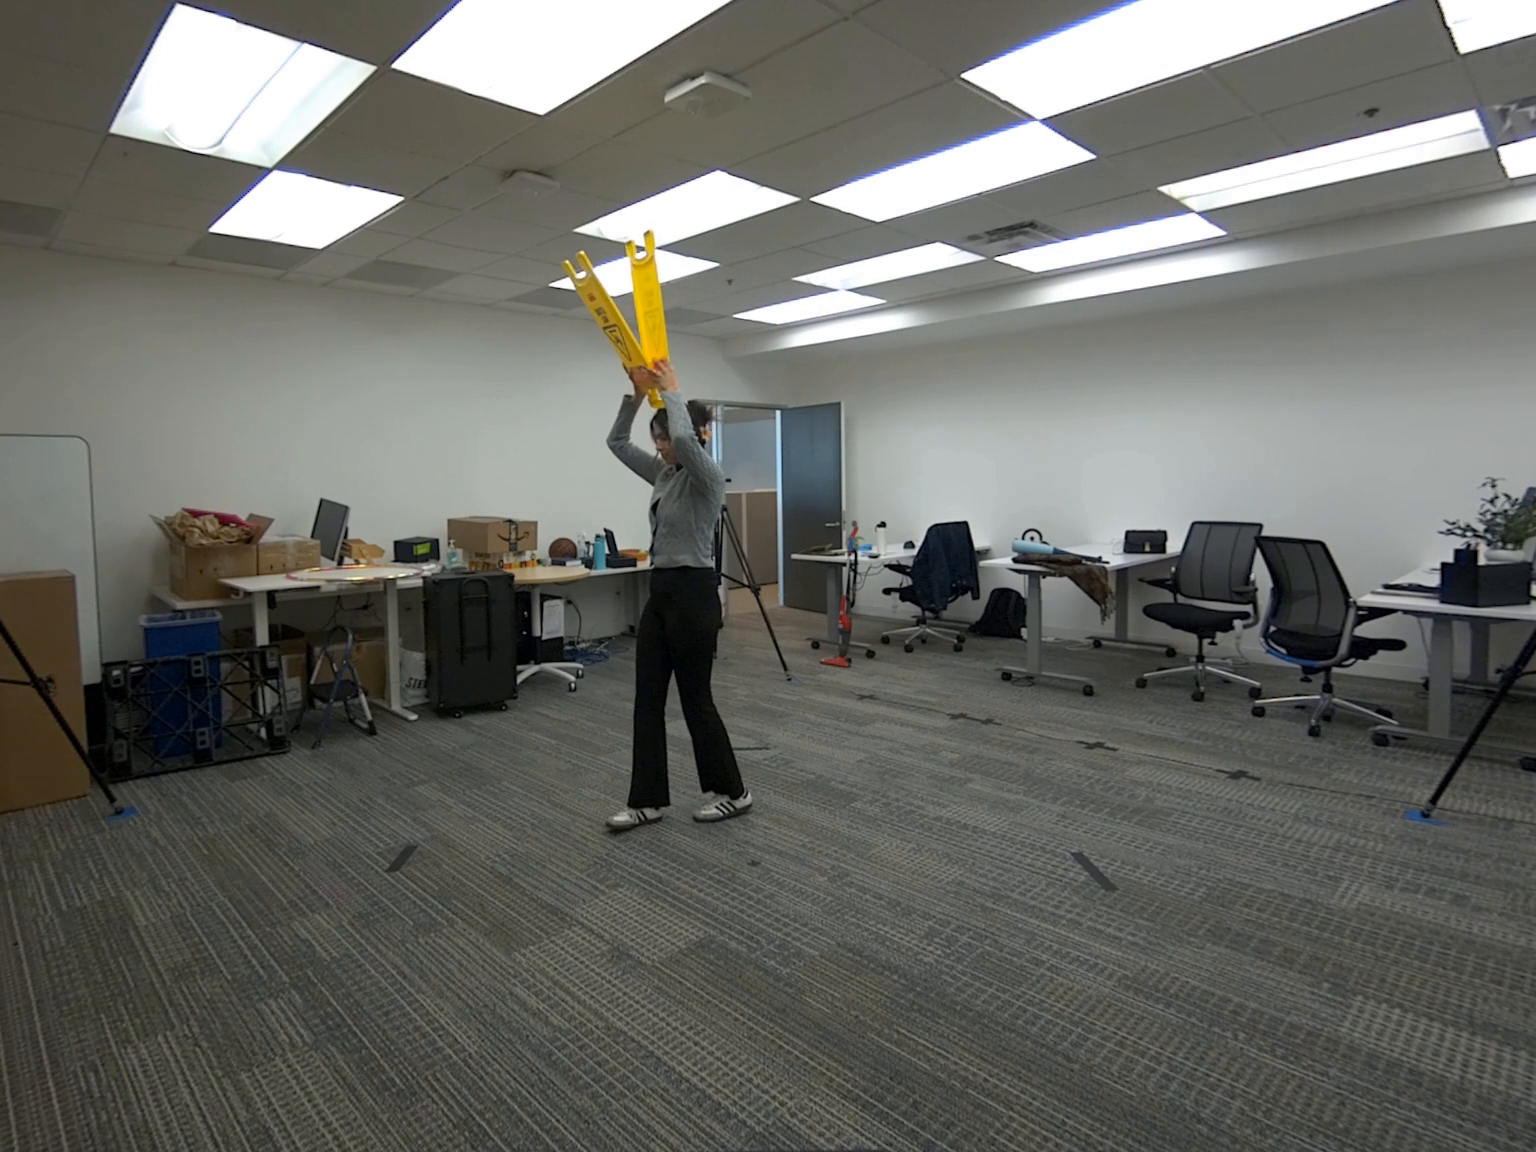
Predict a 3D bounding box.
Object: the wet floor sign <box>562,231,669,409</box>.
[{"bbox_3d":[-0.513,-0.959,3.326,0.287,0.633,0.290,-27,19,-21],"label":"wet floor sign"}]
